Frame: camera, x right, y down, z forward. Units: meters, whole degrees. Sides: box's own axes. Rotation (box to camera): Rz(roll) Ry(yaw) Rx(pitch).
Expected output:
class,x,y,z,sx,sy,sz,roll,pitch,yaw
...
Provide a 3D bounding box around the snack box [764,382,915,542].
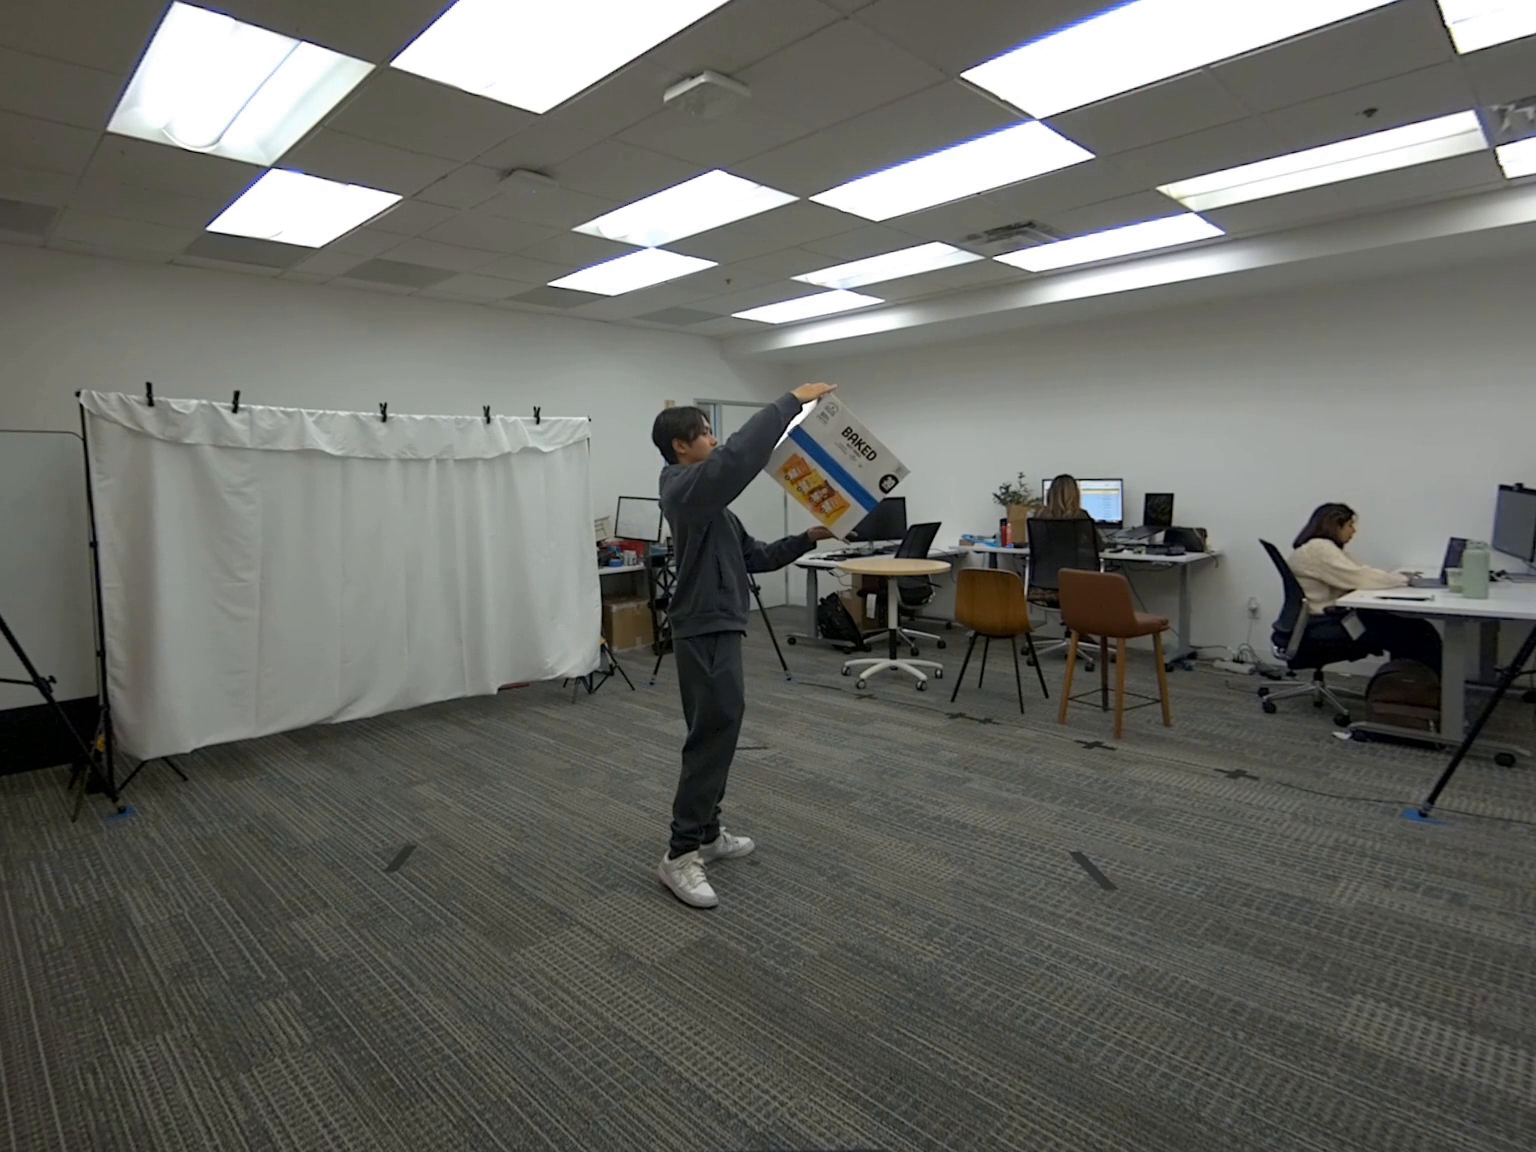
class,x,y,z,sx,sy,sz,roll,pitch,yaw
snack box,0.223,-0.402,2.994,0.398,0.340,0.209,42,10,-14
